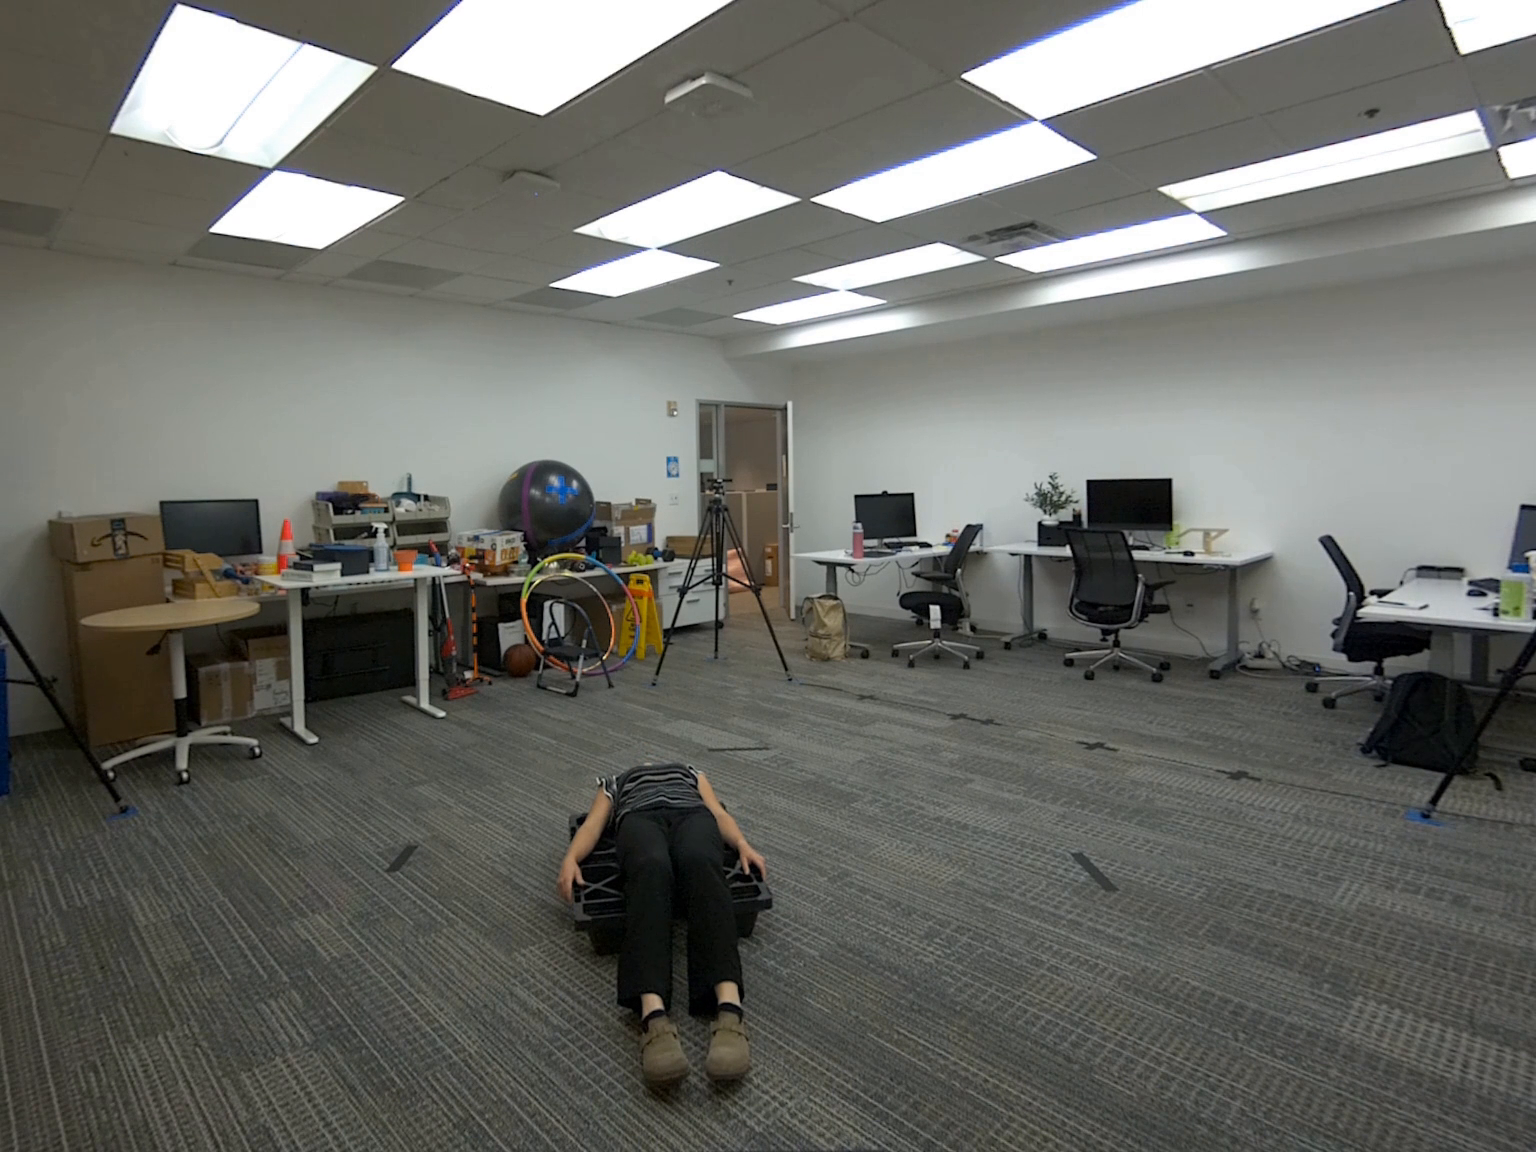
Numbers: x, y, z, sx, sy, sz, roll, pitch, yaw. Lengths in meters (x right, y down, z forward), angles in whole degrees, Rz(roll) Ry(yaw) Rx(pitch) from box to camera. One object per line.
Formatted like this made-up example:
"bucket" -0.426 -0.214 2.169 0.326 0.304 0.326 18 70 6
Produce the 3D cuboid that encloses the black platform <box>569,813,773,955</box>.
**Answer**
"black platform" -0.372 1.009 2.905 0.598 0.142 0.819 -2 7 -13
